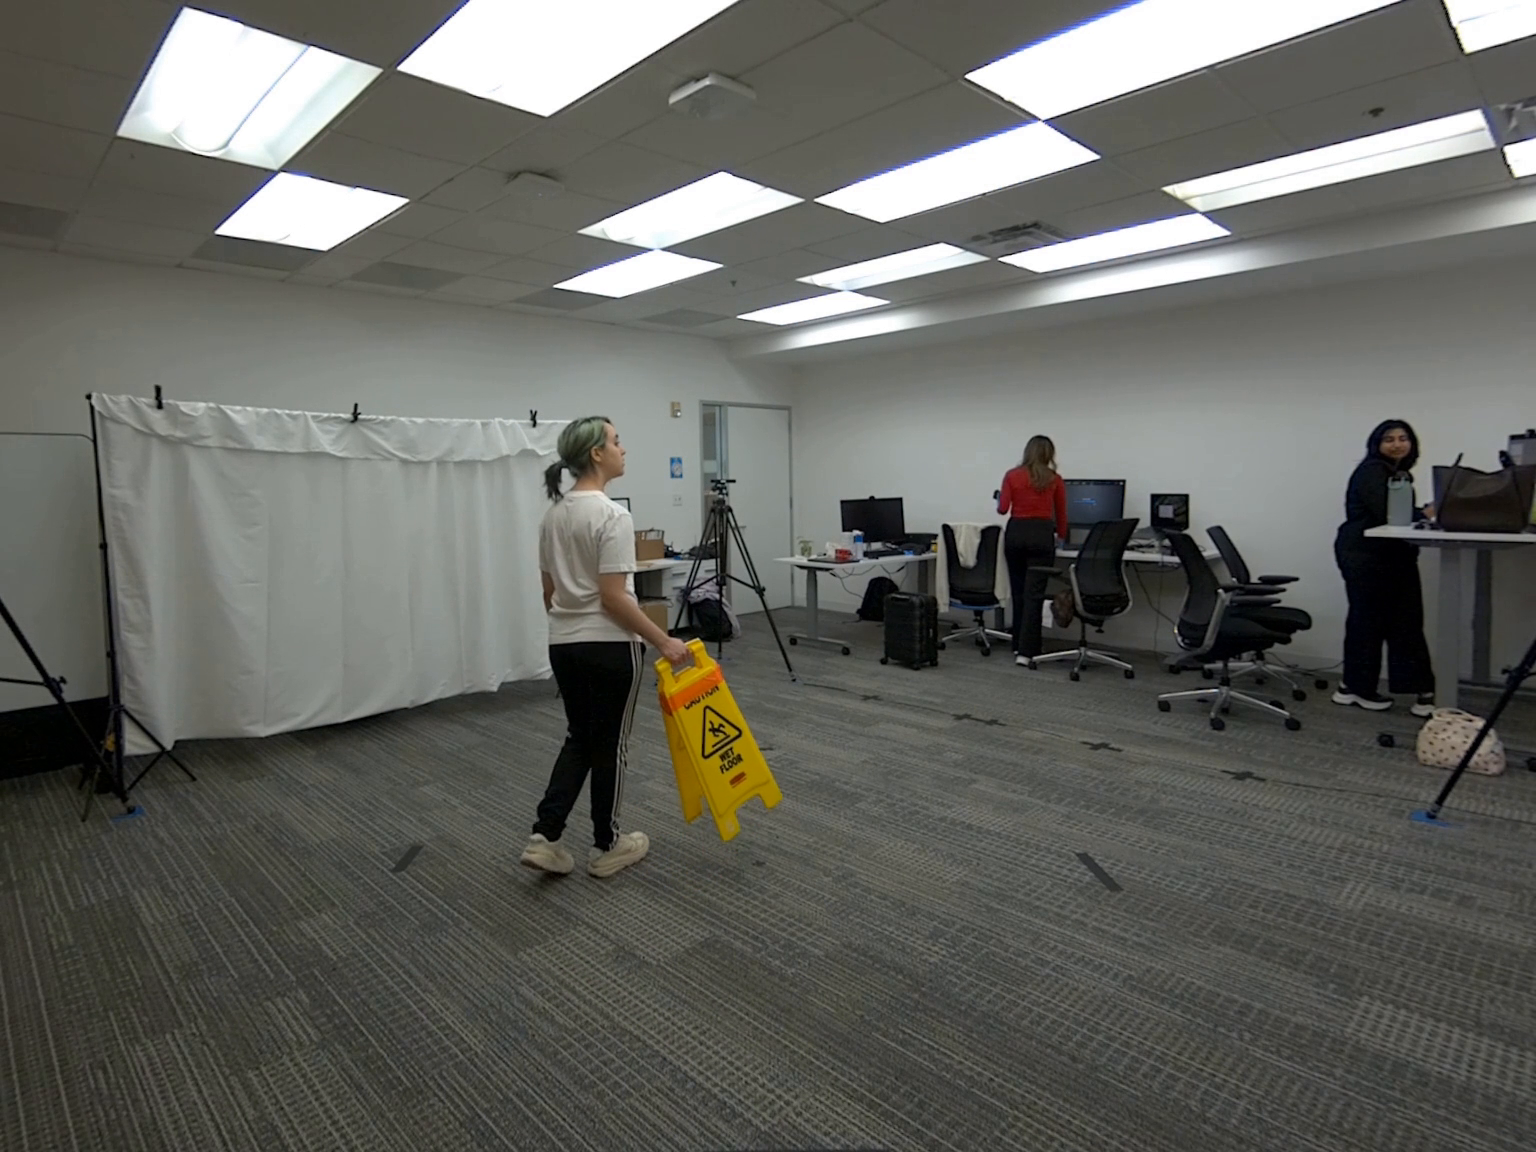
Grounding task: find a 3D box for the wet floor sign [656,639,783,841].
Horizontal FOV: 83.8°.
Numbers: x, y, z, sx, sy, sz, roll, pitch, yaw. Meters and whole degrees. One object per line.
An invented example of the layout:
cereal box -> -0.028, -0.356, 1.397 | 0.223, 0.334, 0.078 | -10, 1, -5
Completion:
wet floor sign -> -0.223, 0.550, 3.017 | 0.278, 0.636, 0.298 | -26, 16, -33
